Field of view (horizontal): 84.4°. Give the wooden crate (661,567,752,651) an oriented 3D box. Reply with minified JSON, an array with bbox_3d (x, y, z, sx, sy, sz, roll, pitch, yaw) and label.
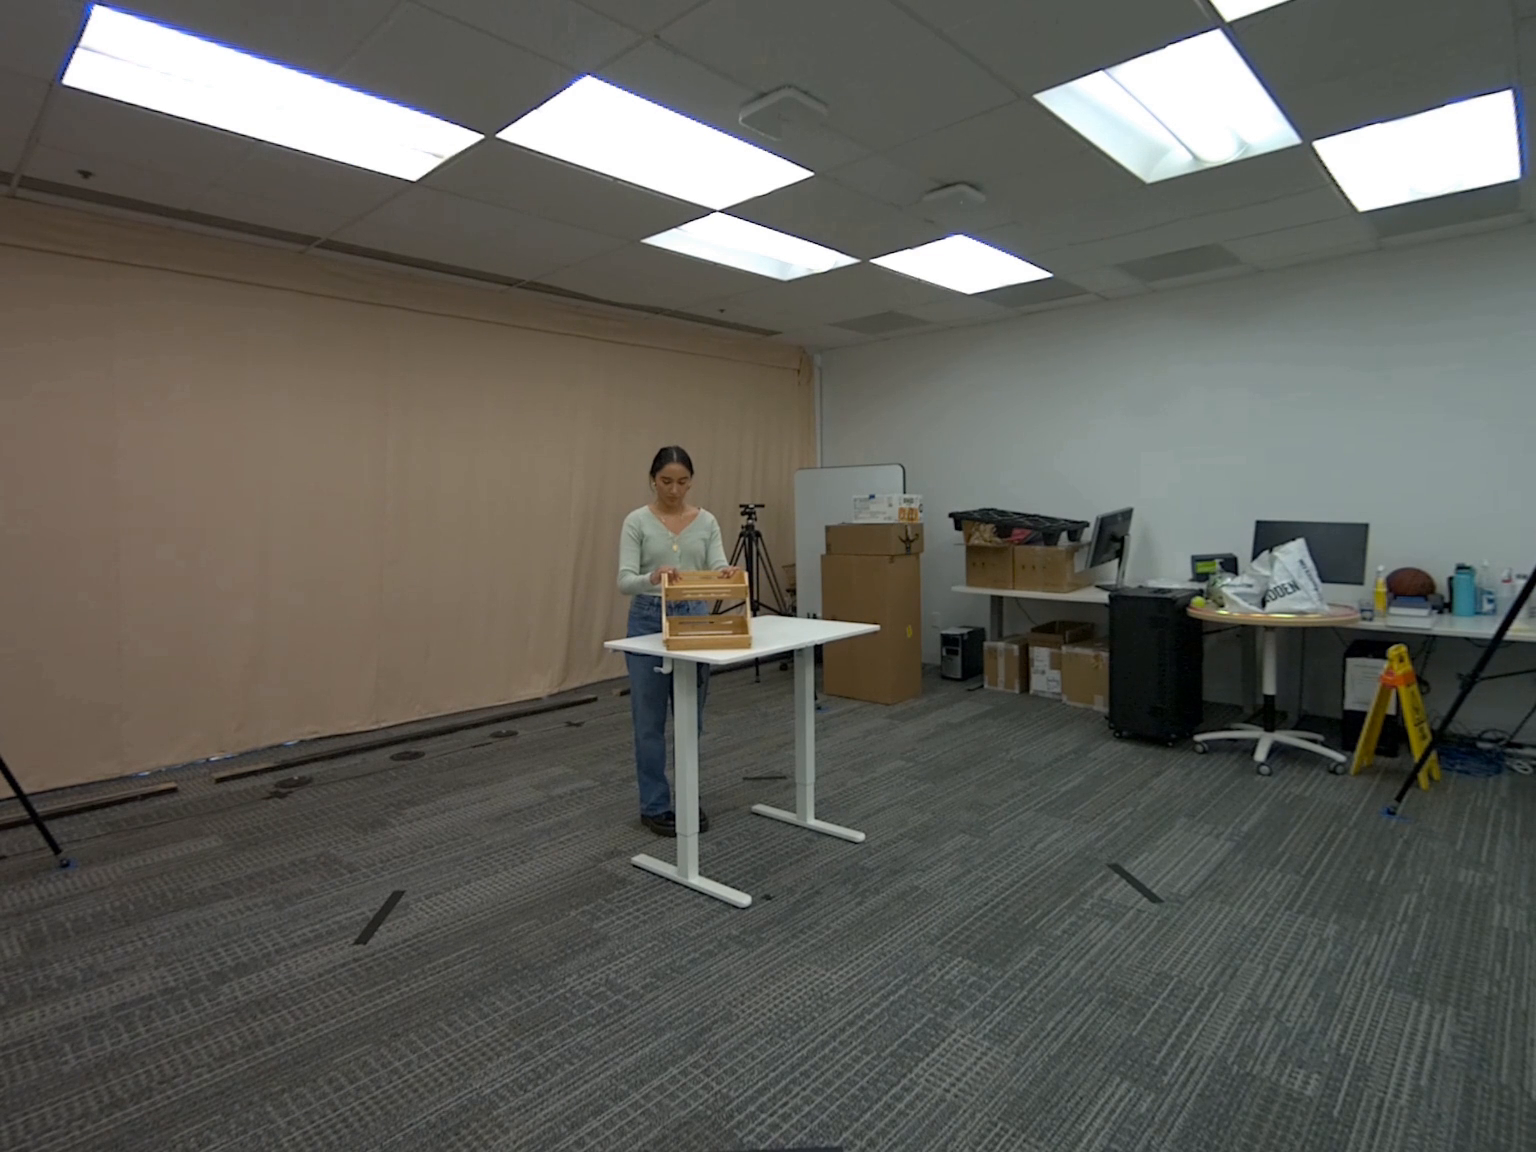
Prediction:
[{"bbox_3d":[-0.226,0.122,3.102,0.323,0.273,0.304,-3,4,-6],"label":"wooden crate"}]
